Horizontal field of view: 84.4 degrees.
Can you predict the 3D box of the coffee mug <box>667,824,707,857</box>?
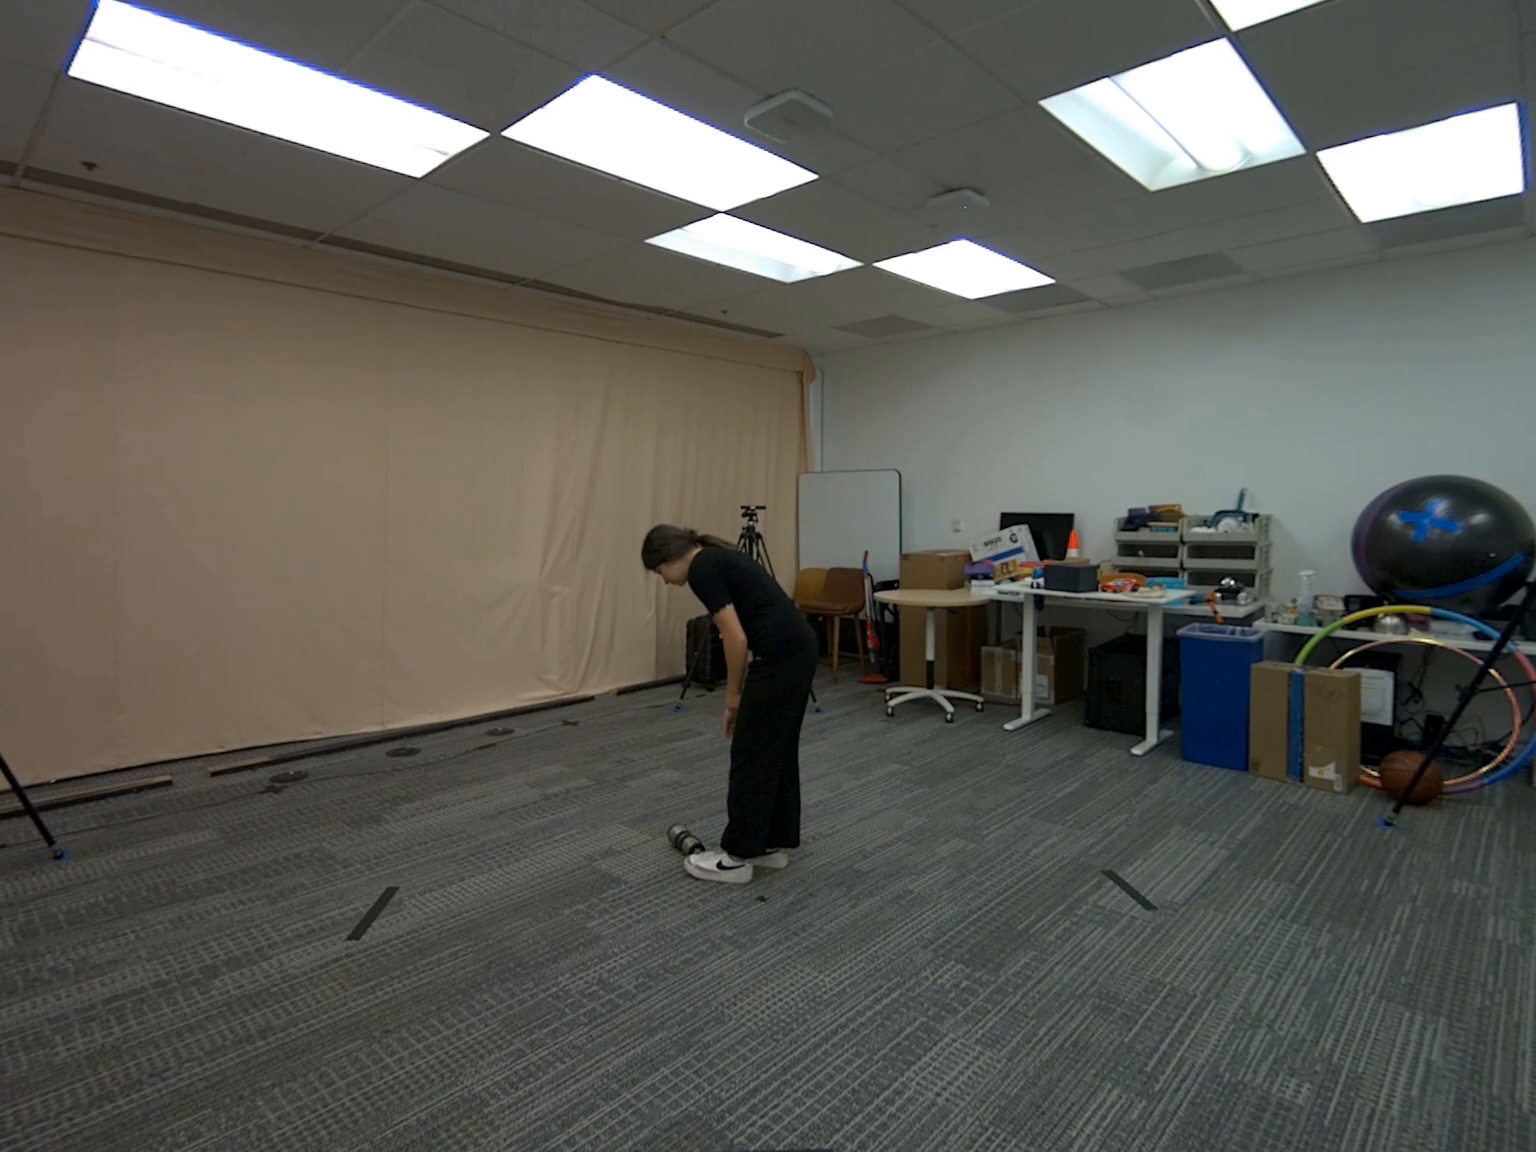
[{"bbox_3d":[-0.312,1.064,3.395,0.119,0.087,0.209,-16,13,-30],"label":"coffee mug"}]
